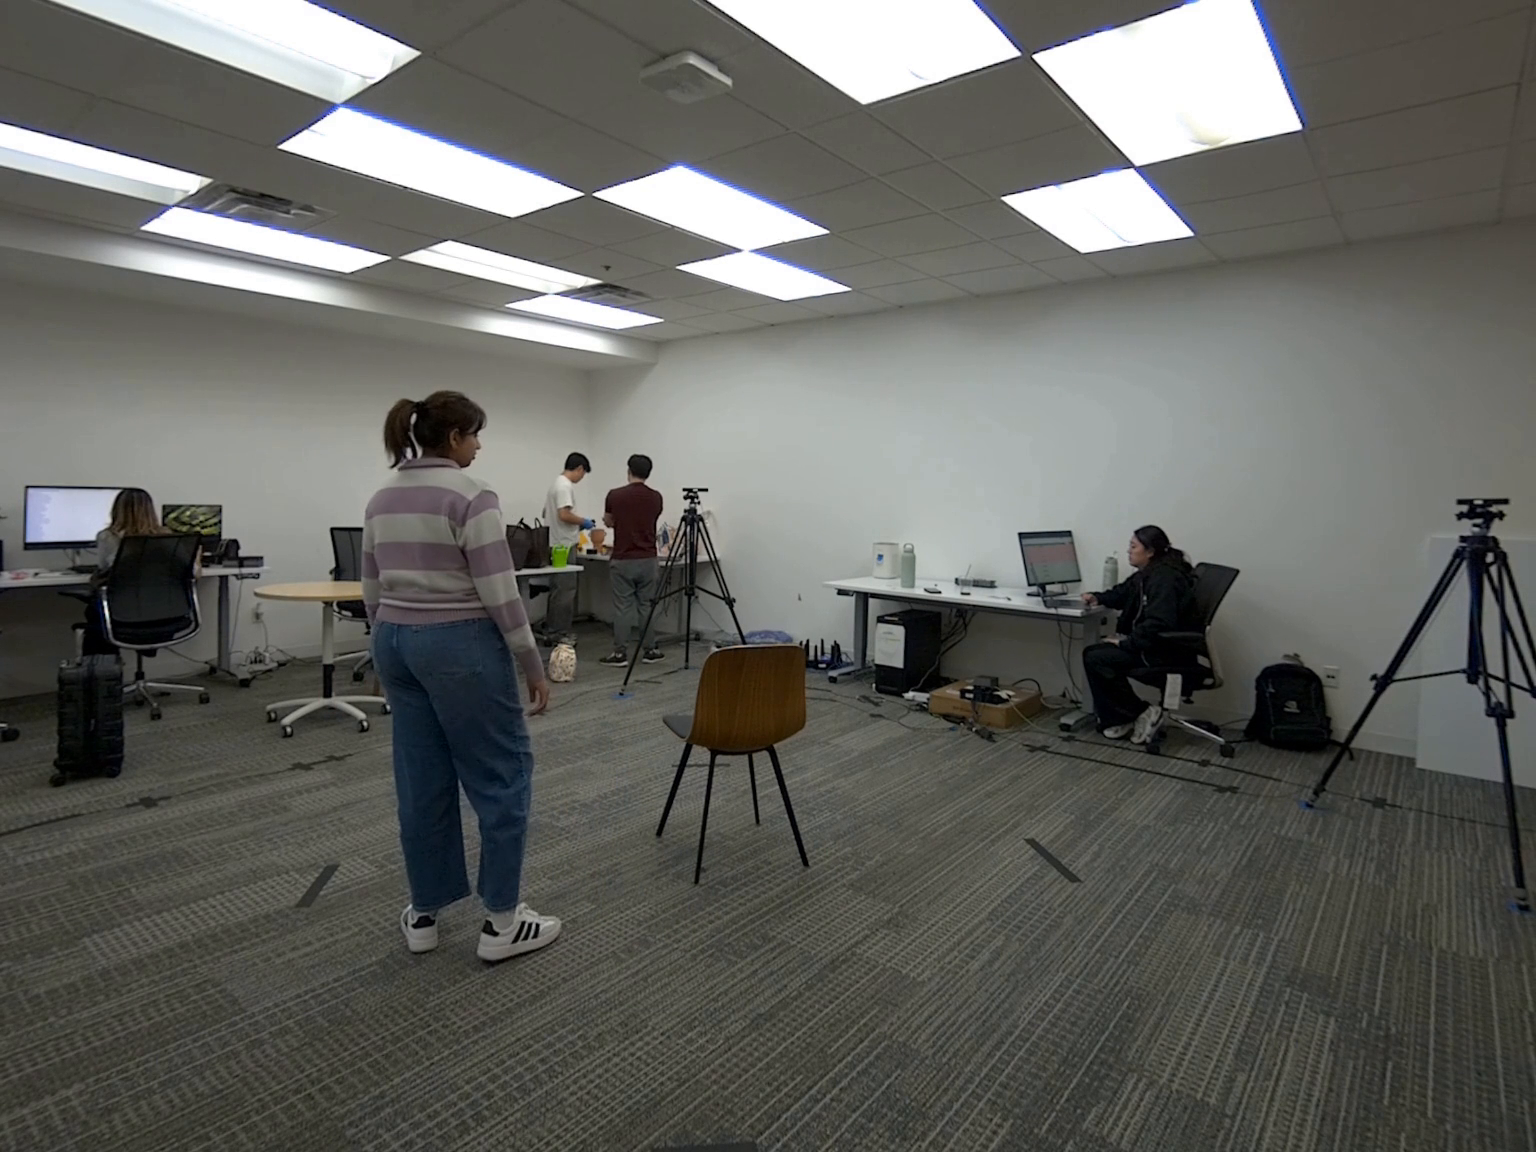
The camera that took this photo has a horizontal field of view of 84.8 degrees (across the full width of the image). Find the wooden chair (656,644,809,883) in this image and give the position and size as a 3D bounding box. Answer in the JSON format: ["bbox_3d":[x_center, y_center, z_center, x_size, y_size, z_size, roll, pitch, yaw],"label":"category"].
[{"bbox_3d":[-0.152,0.629,3.254,0.467,0.872,0.538,0,8,-24],"label":"wooden chair"}]
